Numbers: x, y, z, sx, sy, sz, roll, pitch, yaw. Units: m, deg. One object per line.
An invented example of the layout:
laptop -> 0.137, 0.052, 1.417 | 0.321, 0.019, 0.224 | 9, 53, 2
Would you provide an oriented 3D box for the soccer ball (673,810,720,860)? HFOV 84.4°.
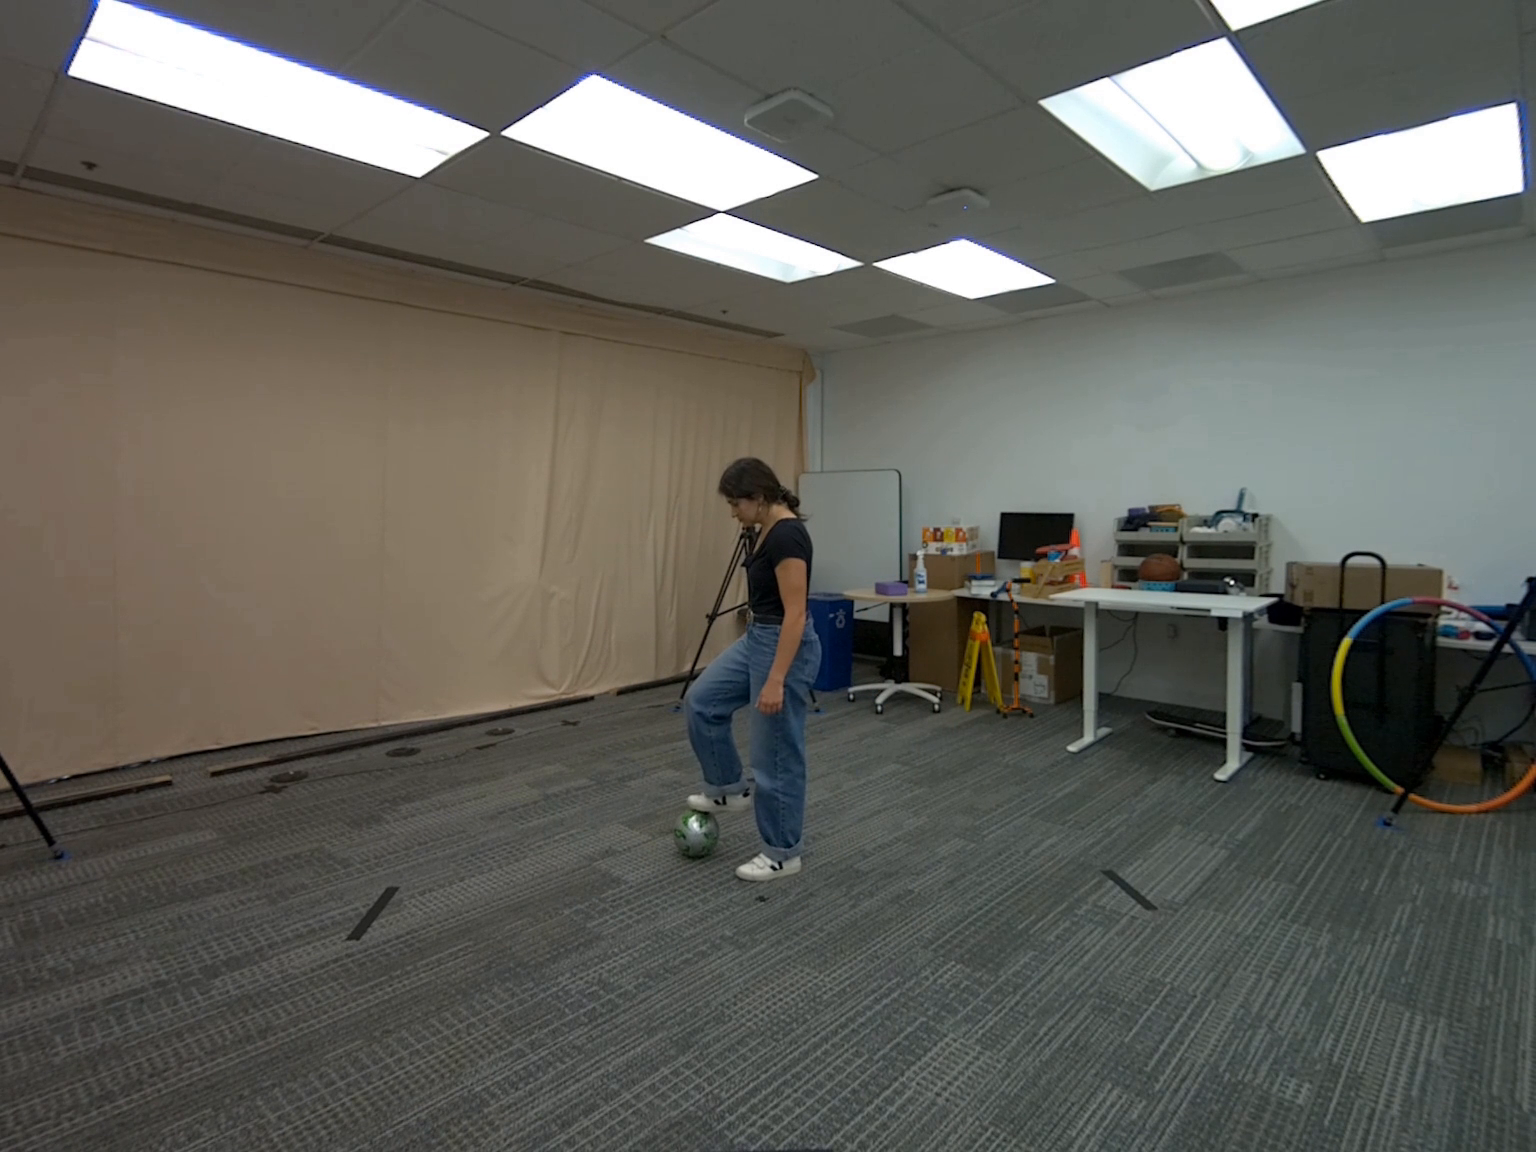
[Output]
soccer ball -> -0.280, 1.021, 3.355 | 0.187, 0.187, 0.188 | 0, 4, -2
